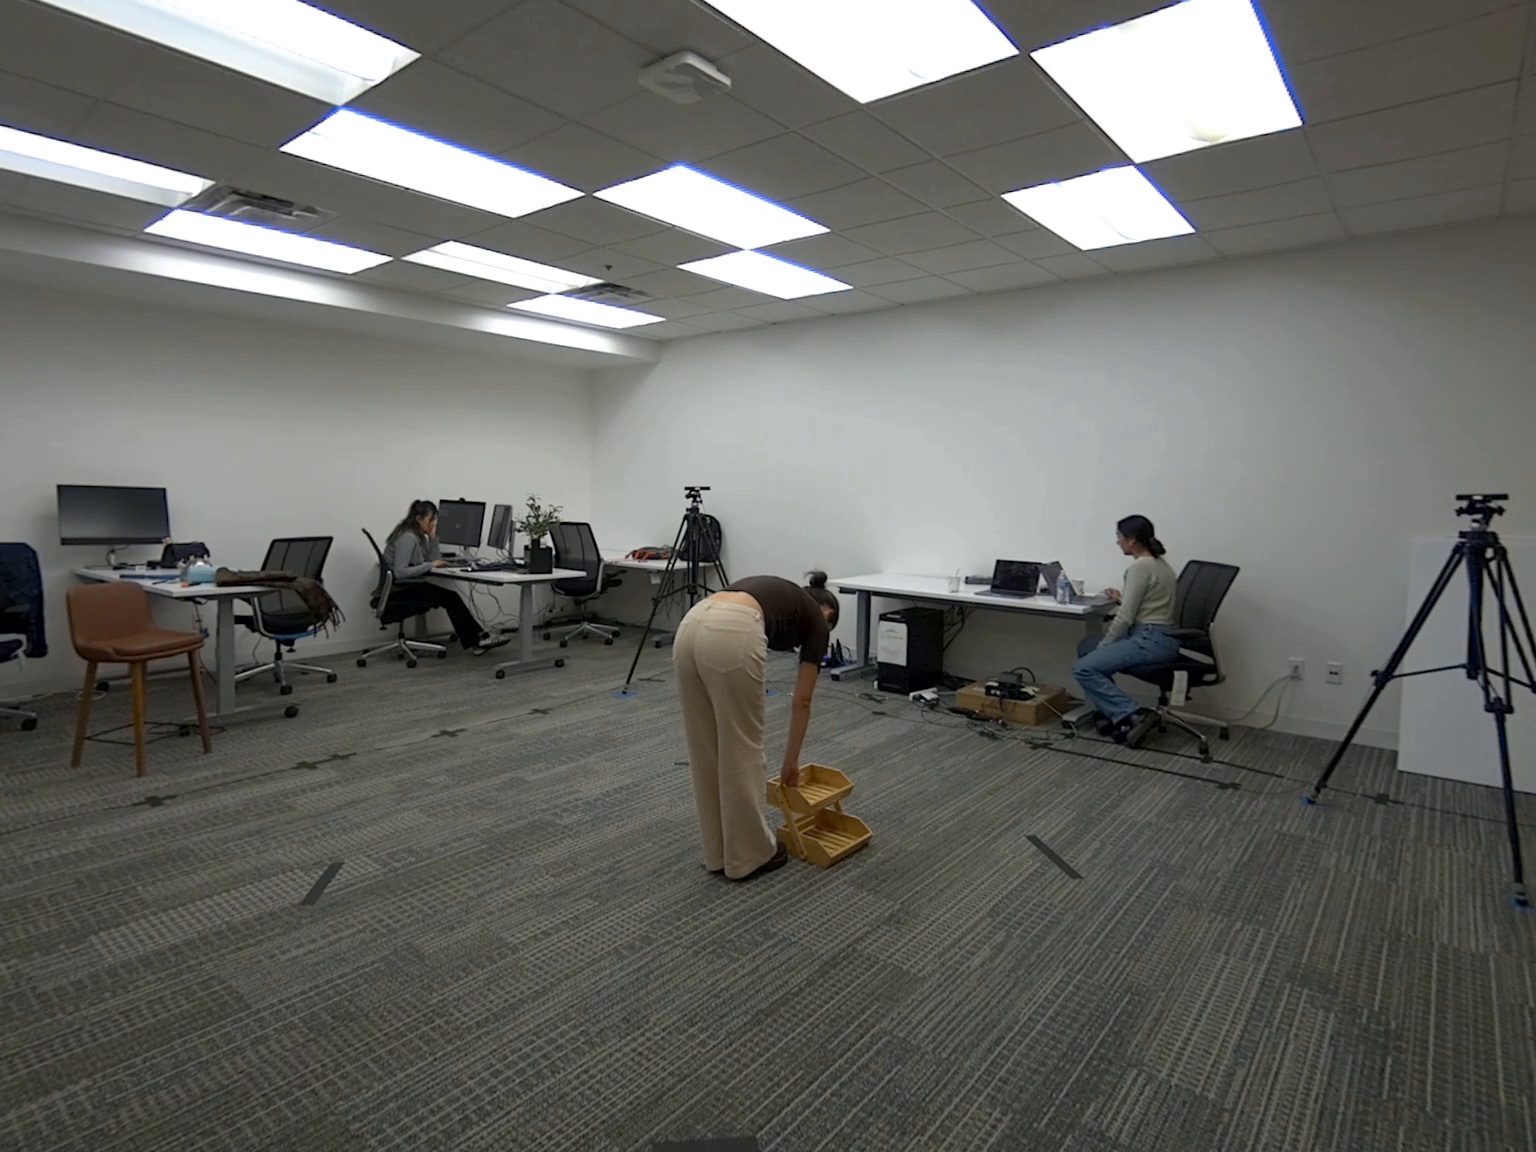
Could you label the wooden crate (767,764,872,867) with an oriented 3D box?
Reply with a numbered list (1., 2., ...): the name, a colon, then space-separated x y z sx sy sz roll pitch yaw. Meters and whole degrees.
1. wooden crate: 0.196 0.915 3.312 0.312 0.272 0.315 3 5 39
